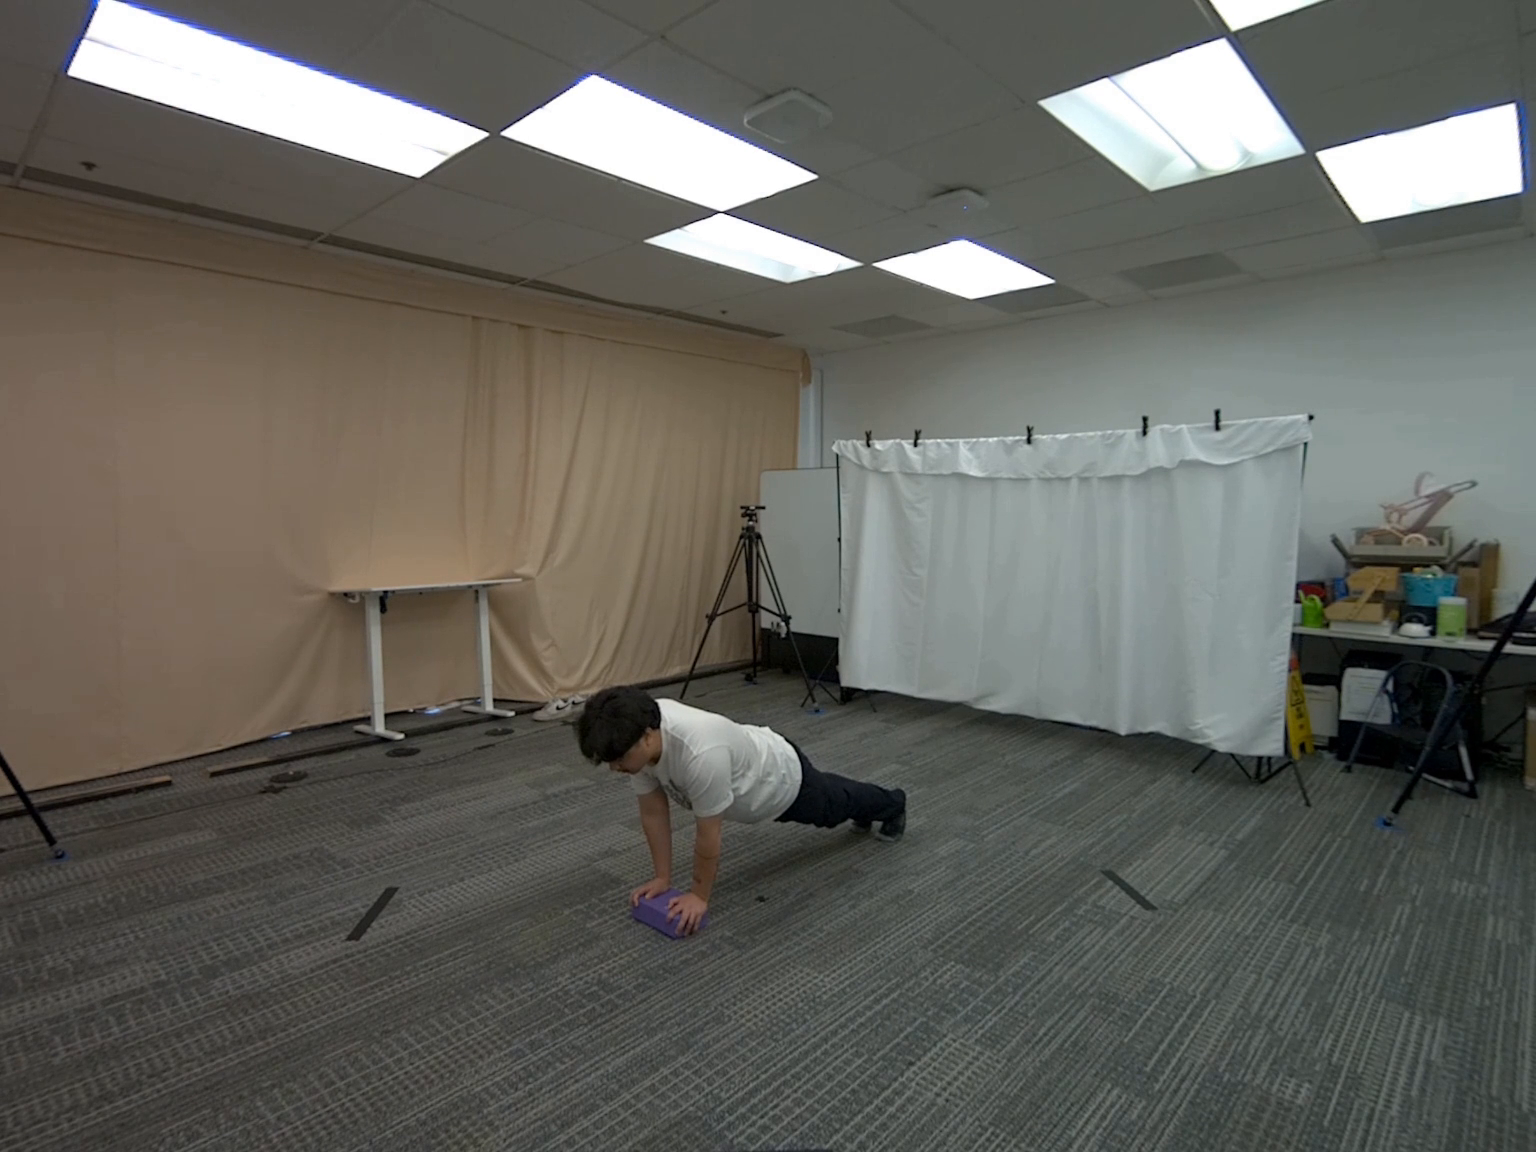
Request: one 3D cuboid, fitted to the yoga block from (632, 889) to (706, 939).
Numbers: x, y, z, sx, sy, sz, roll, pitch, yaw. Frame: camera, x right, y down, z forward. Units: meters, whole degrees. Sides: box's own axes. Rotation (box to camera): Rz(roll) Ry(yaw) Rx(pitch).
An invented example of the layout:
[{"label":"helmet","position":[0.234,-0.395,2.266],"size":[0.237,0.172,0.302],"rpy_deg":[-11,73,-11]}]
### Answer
[{"label":"yoga block","position":[-0.327,1.125,2.822],"size":[0.237,0.076,0.144],"rpy_deg":[4,8,41]}]
